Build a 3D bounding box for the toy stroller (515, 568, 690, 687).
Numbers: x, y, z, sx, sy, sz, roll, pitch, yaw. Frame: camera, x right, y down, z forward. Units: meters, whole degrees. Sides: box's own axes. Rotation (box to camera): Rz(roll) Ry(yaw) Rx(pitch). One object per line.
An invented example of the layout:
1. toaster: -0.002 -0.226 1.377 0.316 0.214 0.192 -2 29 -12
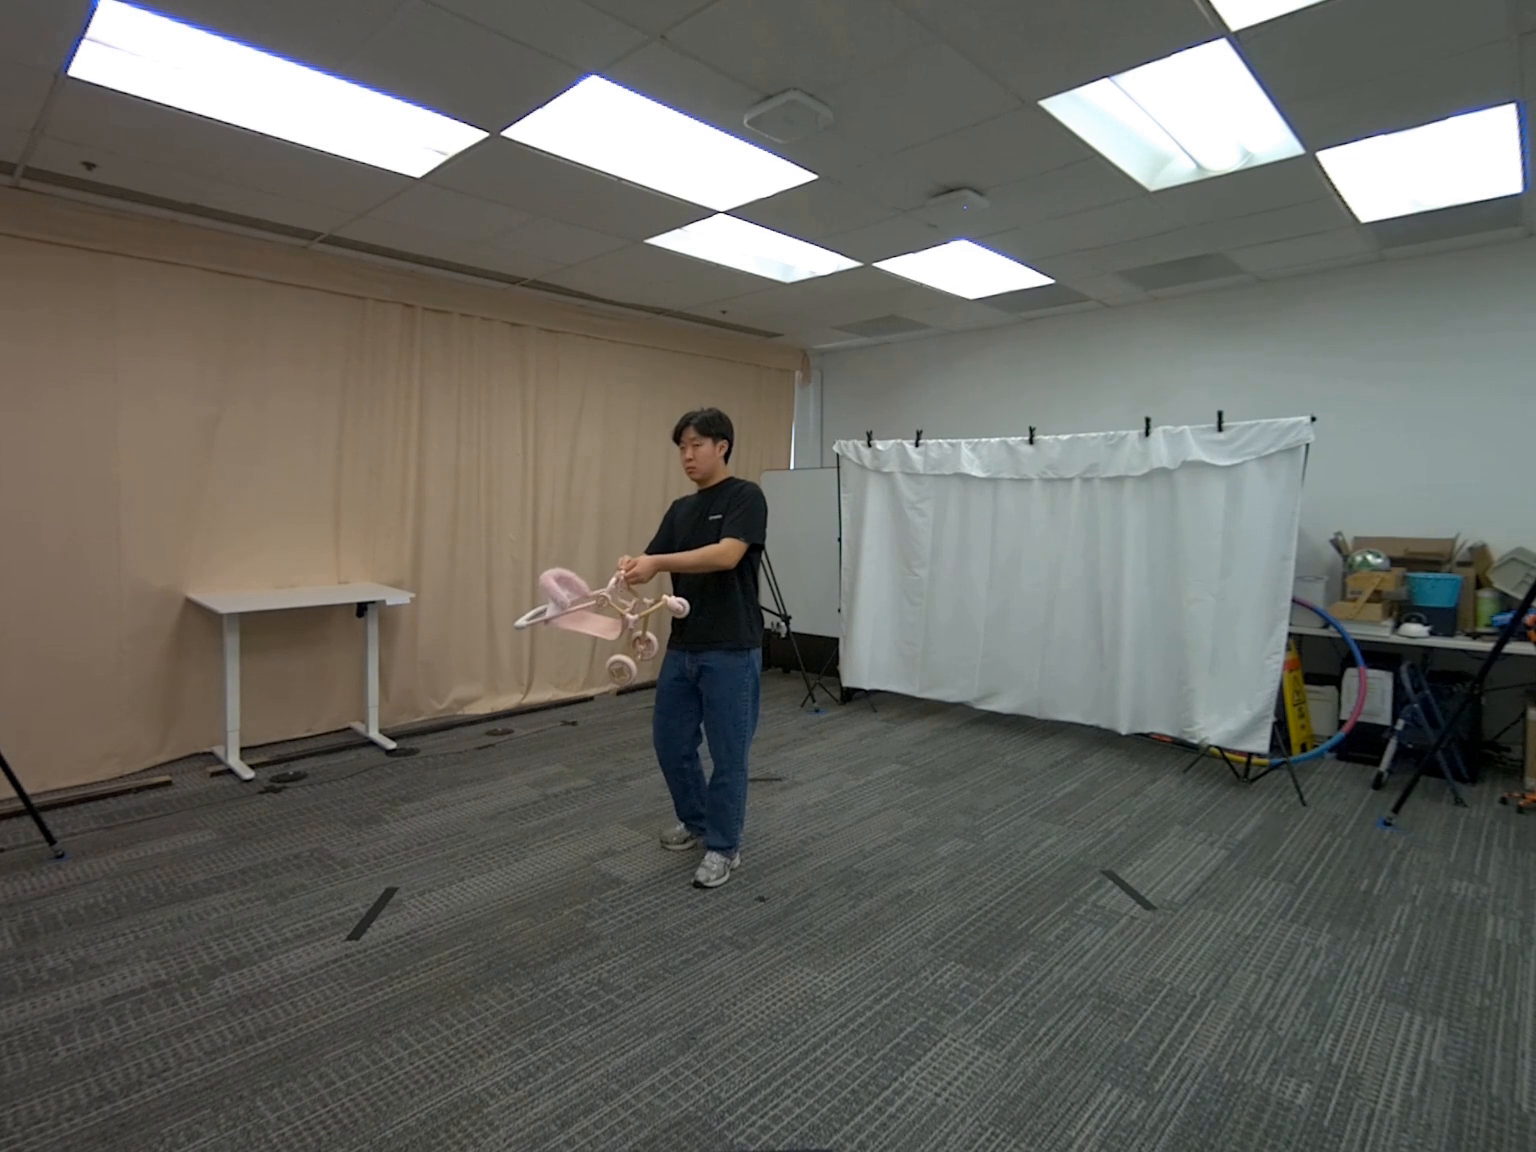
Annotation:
1. toy stroller: -0.539 0.121 2.848 0.541 0.340 0.279 25 21 8
